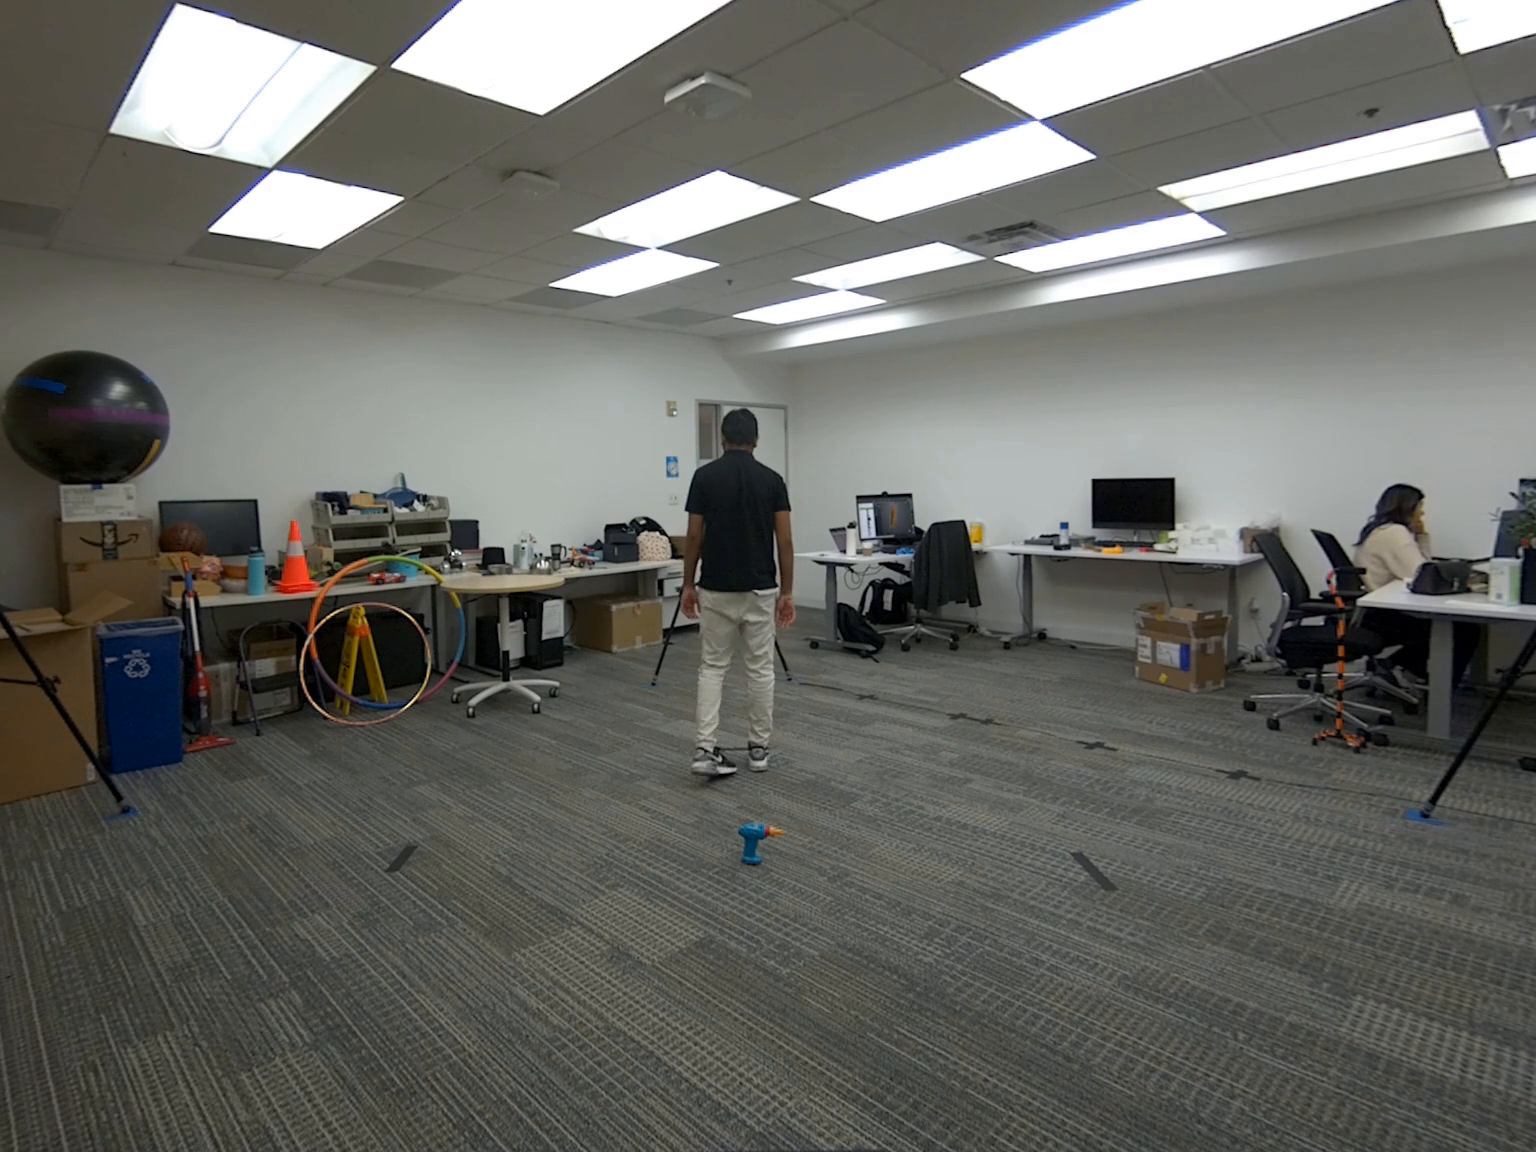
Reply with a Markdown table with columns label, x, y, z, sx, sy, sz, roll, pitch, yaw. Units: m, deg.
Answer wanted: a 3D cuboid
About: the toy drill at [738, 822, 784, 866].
| label | x | y | z | sx | sy | sz | roll | pitch | yaw |
| --- | --- | --- | --- | --- | --- | --- | --- | --- | --- |
| toy drill | -0.024 | 0.962 | 3.110 | 0.170 | 0.146 | 0.061 | -1 | 2 | 0 |
